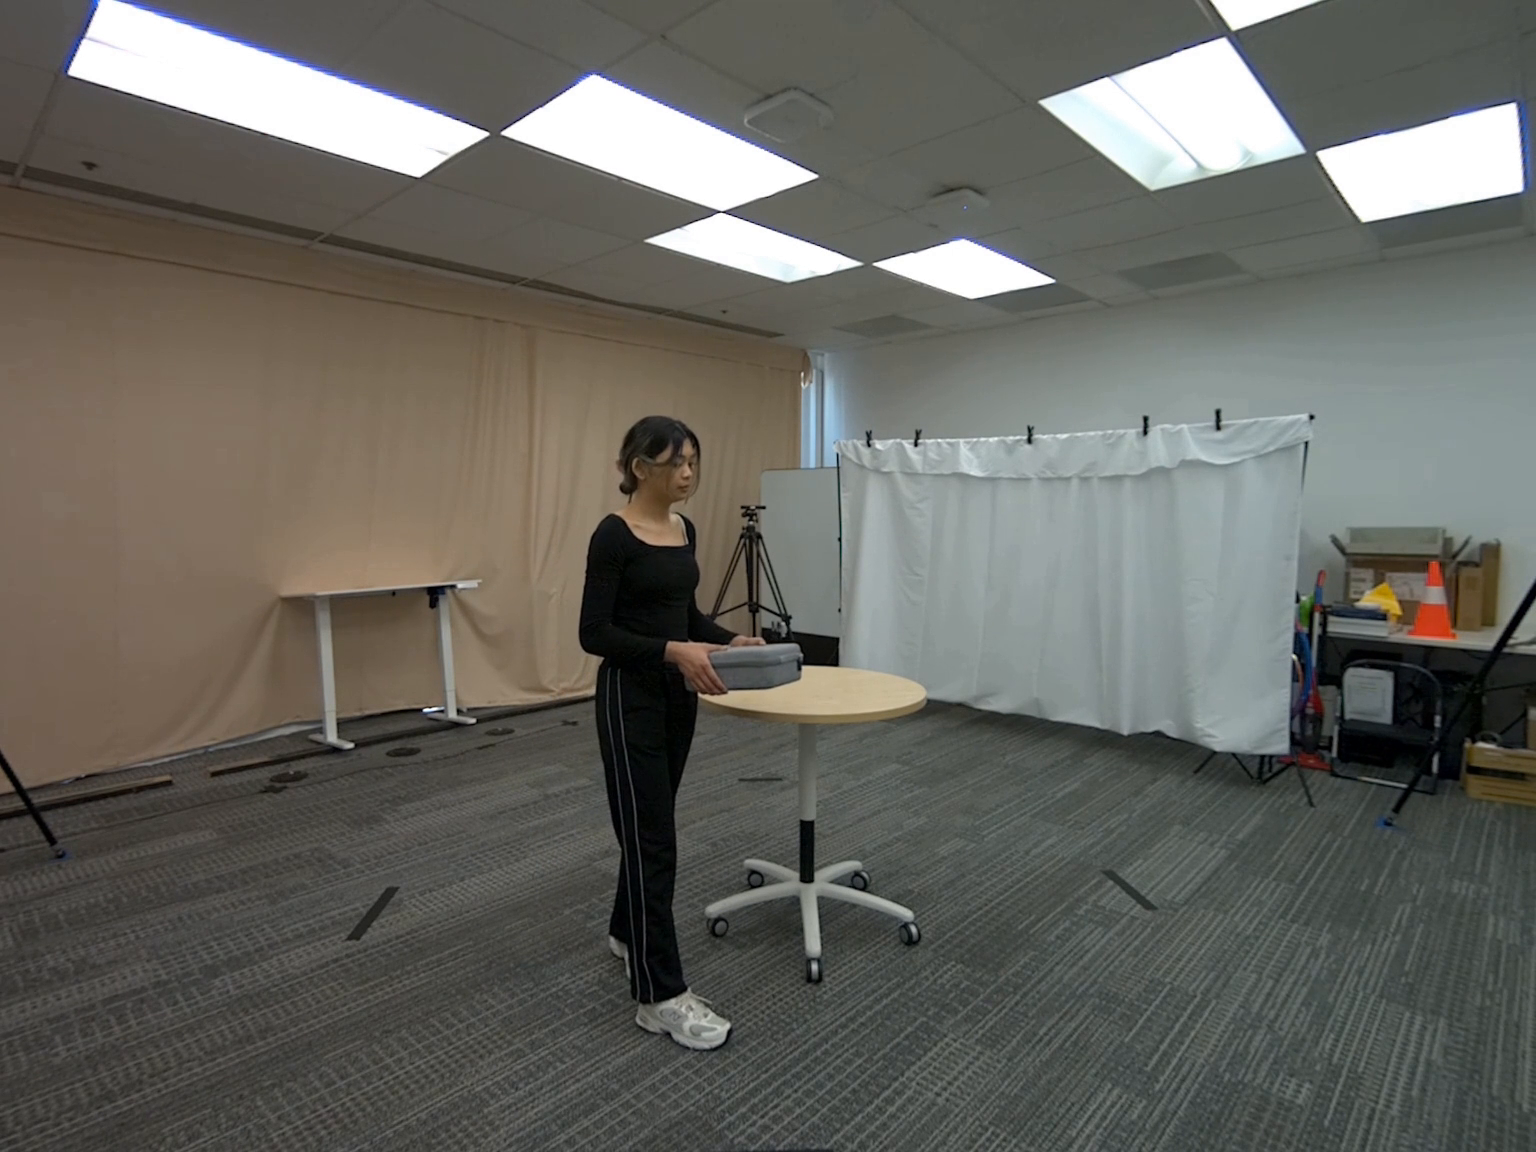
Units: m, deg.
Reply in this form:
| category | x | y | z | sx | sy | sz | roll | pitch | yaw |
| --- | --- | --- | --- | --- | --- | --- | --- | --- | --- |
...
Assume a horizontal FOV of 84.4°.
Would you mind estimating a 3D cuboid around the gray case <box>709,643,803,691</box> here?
| category | x | y | z | sx | sy | sz | roll | pitch | yaw |
| --- | --- | --- | --- | --- | --- | --- | --- | --- | --- |
| gray case | -0.067 | 0.239 | 2.193 | 0.265 | 0.104 | 0.251 | -5 | -2 | 19 |
